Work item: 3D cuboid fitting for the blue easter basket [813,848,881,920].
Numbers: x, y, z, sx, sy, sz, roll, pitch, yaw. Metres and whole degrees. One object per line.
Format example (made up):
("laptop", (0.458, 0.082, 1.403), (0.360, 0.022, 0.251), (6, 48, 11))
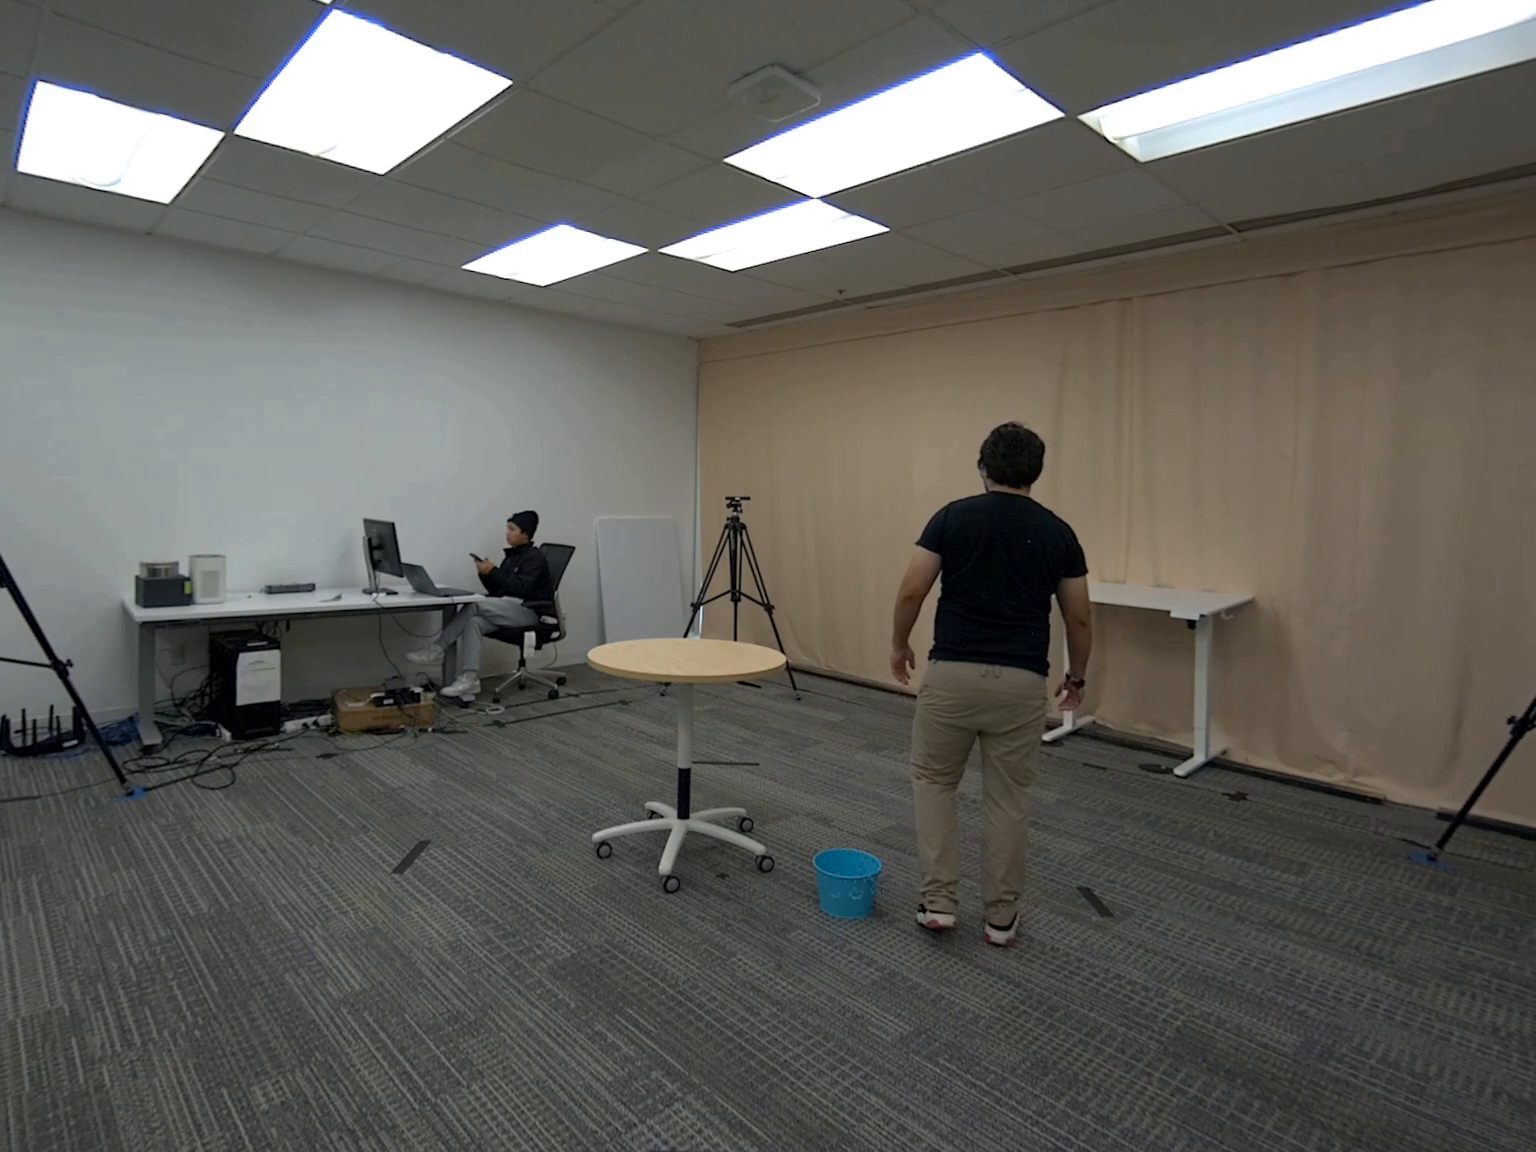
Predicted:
("blue easter basket", (0.267, 1.054, 2.888), (0.243, 0.155, 0.245), (0, 6, -1))
